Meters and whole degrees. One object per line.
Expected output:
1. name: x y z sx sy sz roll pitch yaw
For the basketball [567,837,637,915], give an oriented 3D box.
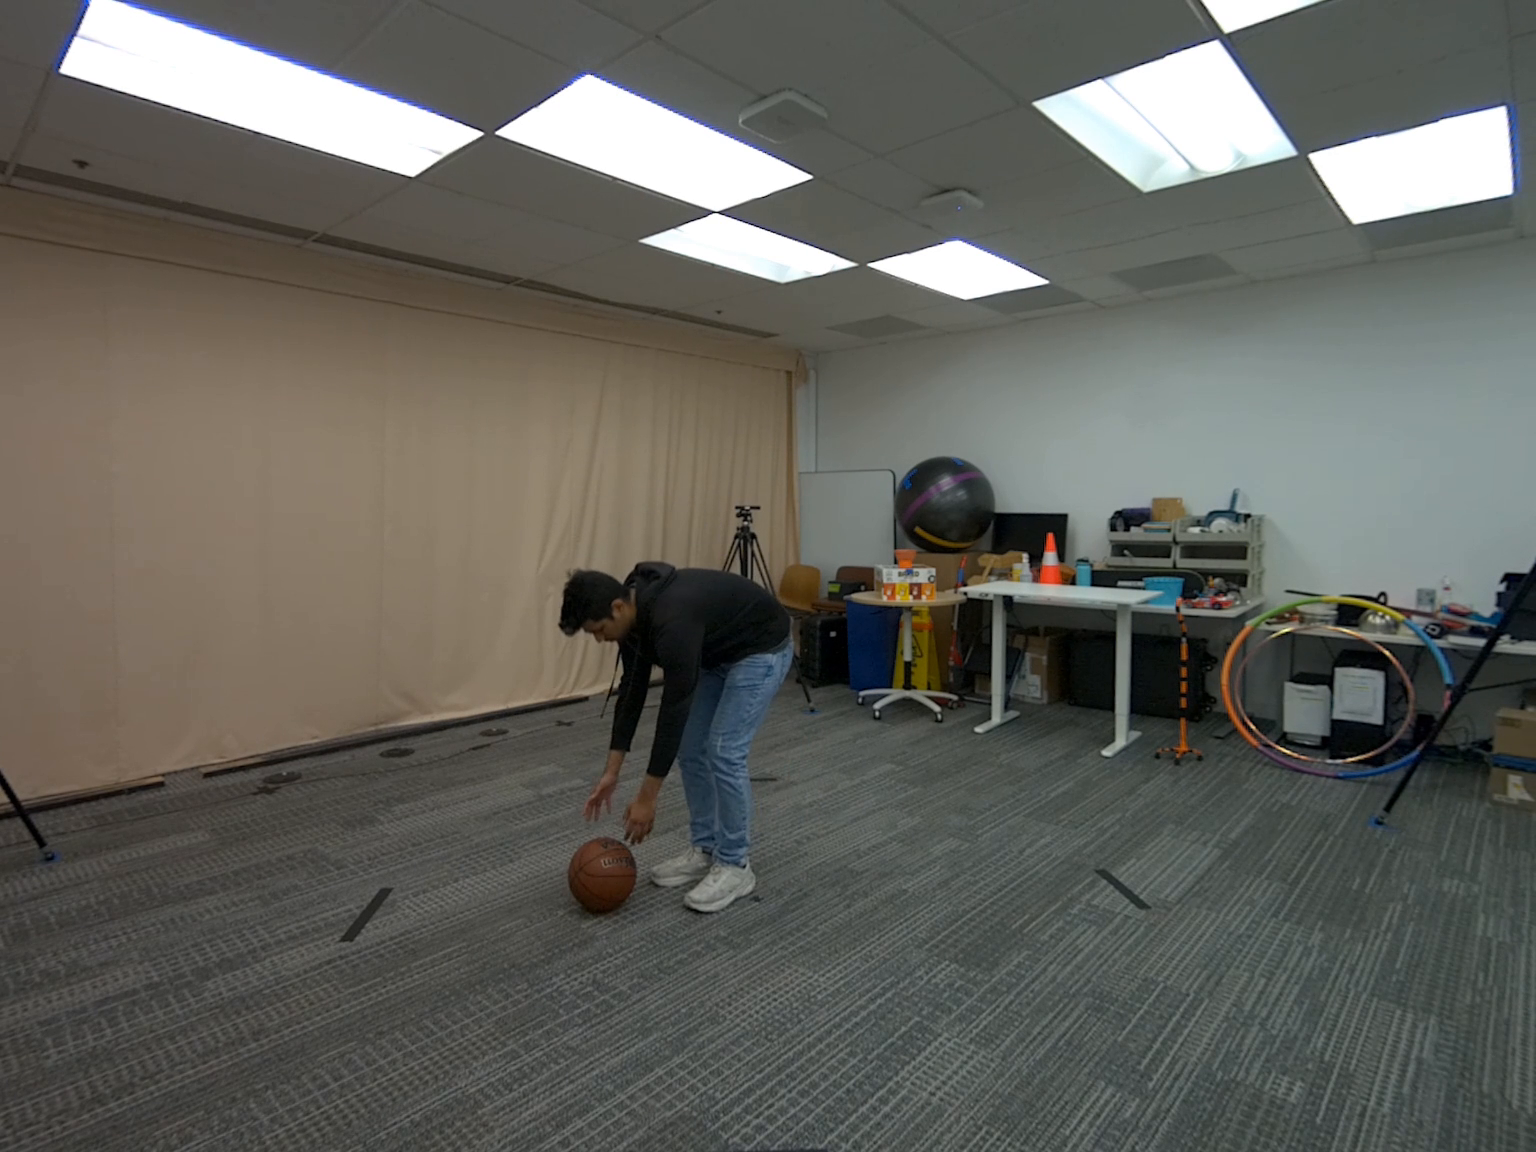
1. basketball: -0.575 1.032 2.922 0.236 0.235 0.237 0 4 -2
